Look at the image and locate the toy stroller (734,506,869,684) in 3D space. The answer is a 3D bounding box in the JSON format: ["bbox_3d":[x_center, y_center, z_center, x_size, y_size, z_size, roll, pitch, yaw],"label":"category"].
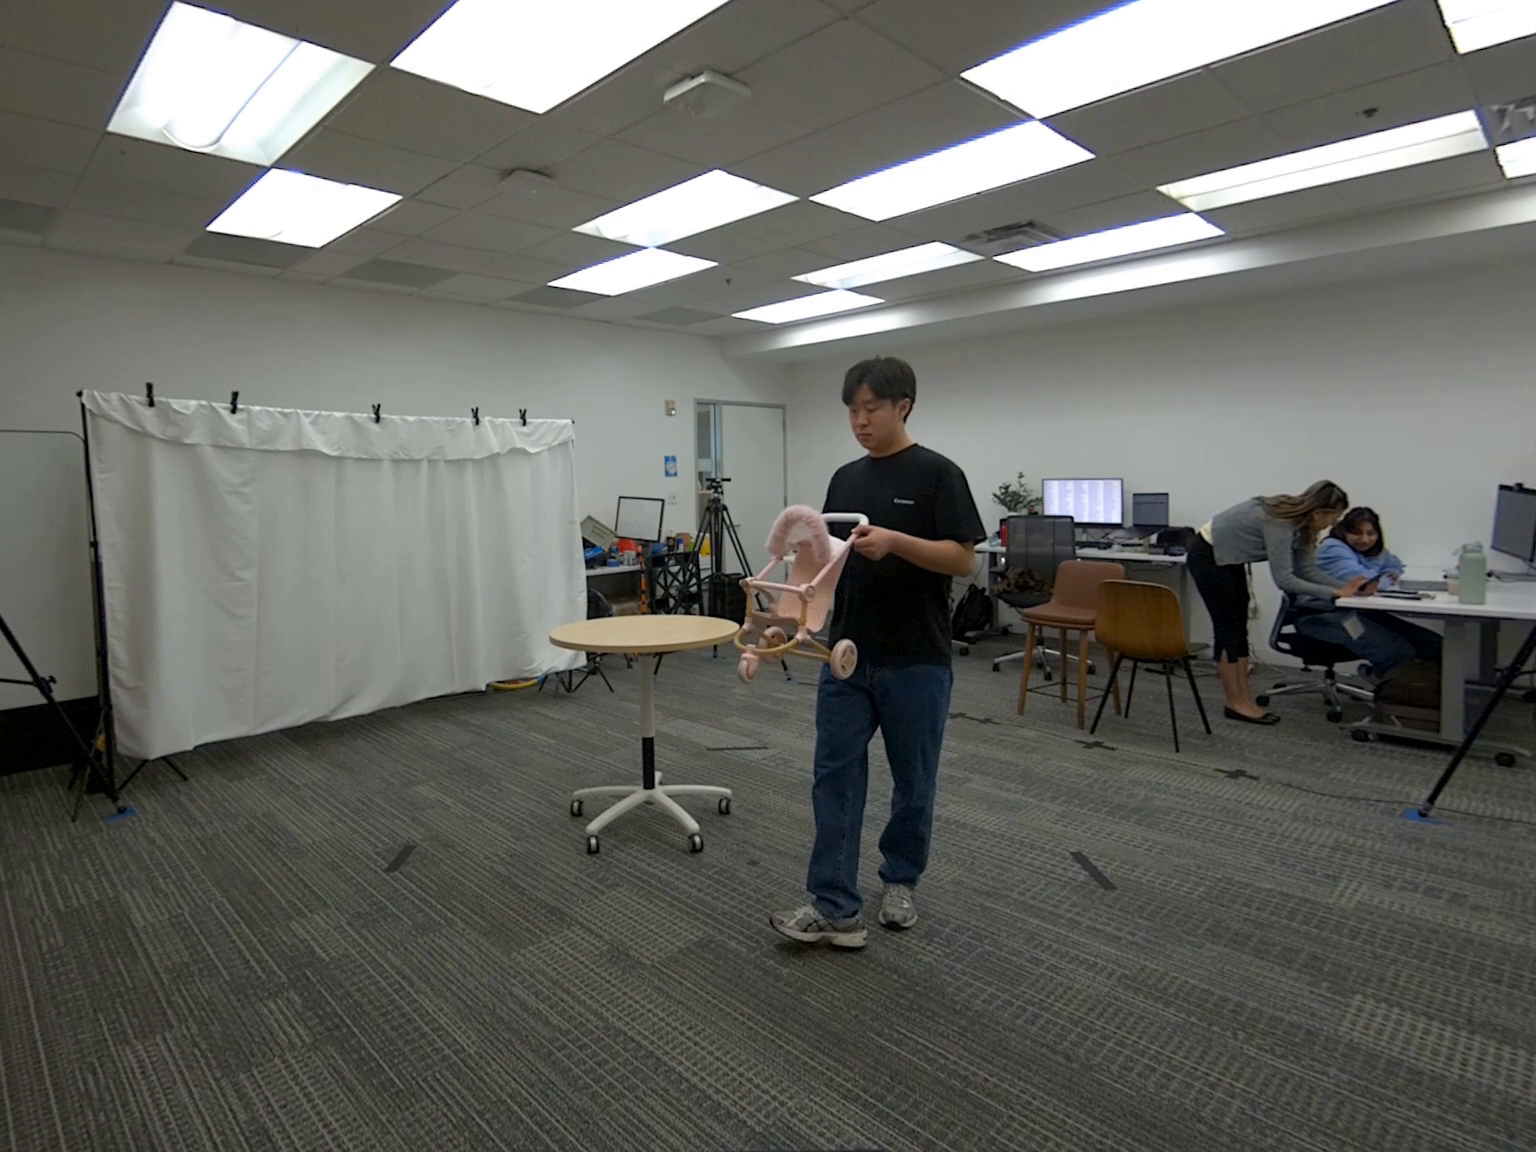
[{"bbox_3d":[0.082,0.047,2.366,0.290,0.537,0.329,5,-9,45],"label":"toy stroller"}]
